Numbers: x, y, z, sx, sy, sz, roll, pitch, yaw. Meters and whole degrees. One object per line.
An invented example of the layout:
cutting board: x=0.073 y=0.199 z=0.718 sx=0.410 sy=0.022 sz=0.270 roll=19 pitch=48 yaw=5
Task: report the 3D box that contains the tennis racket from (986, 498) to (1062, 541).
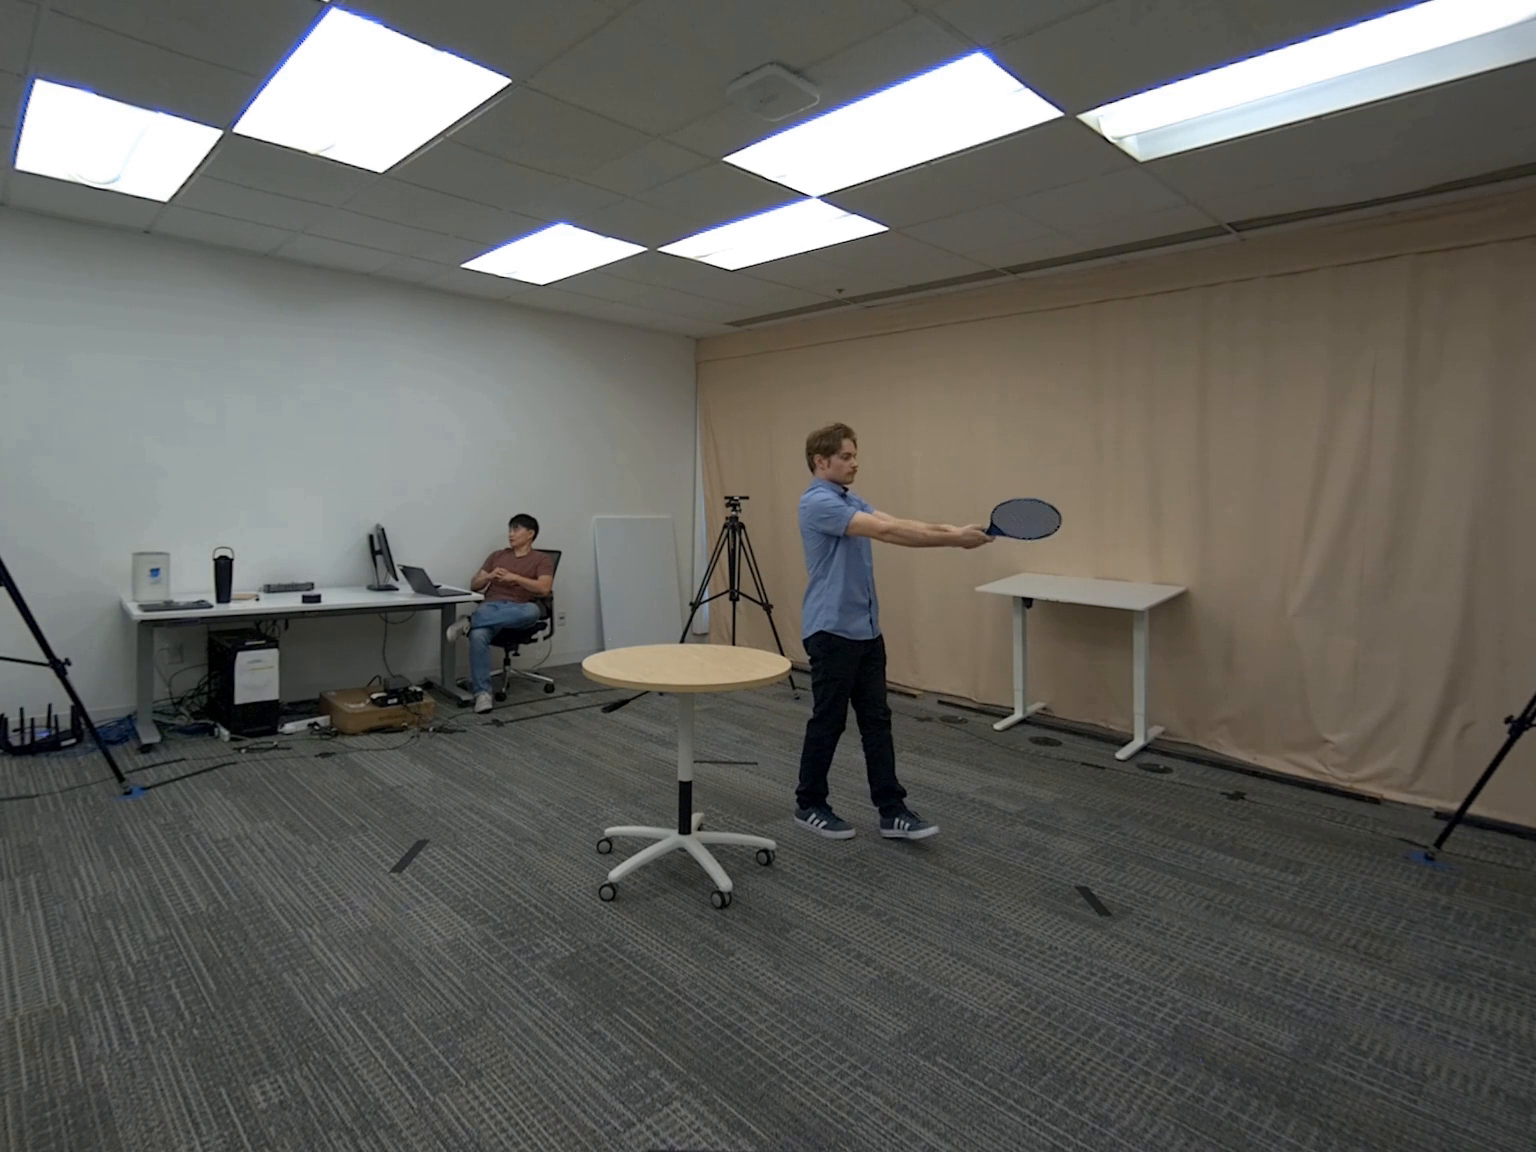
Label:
tennis racket: x=0.870 y=-0.178 z=3.065 sx=0.211 sy=0.032 sz=0.436 roll=39 pitch=-29 yaw=-12
